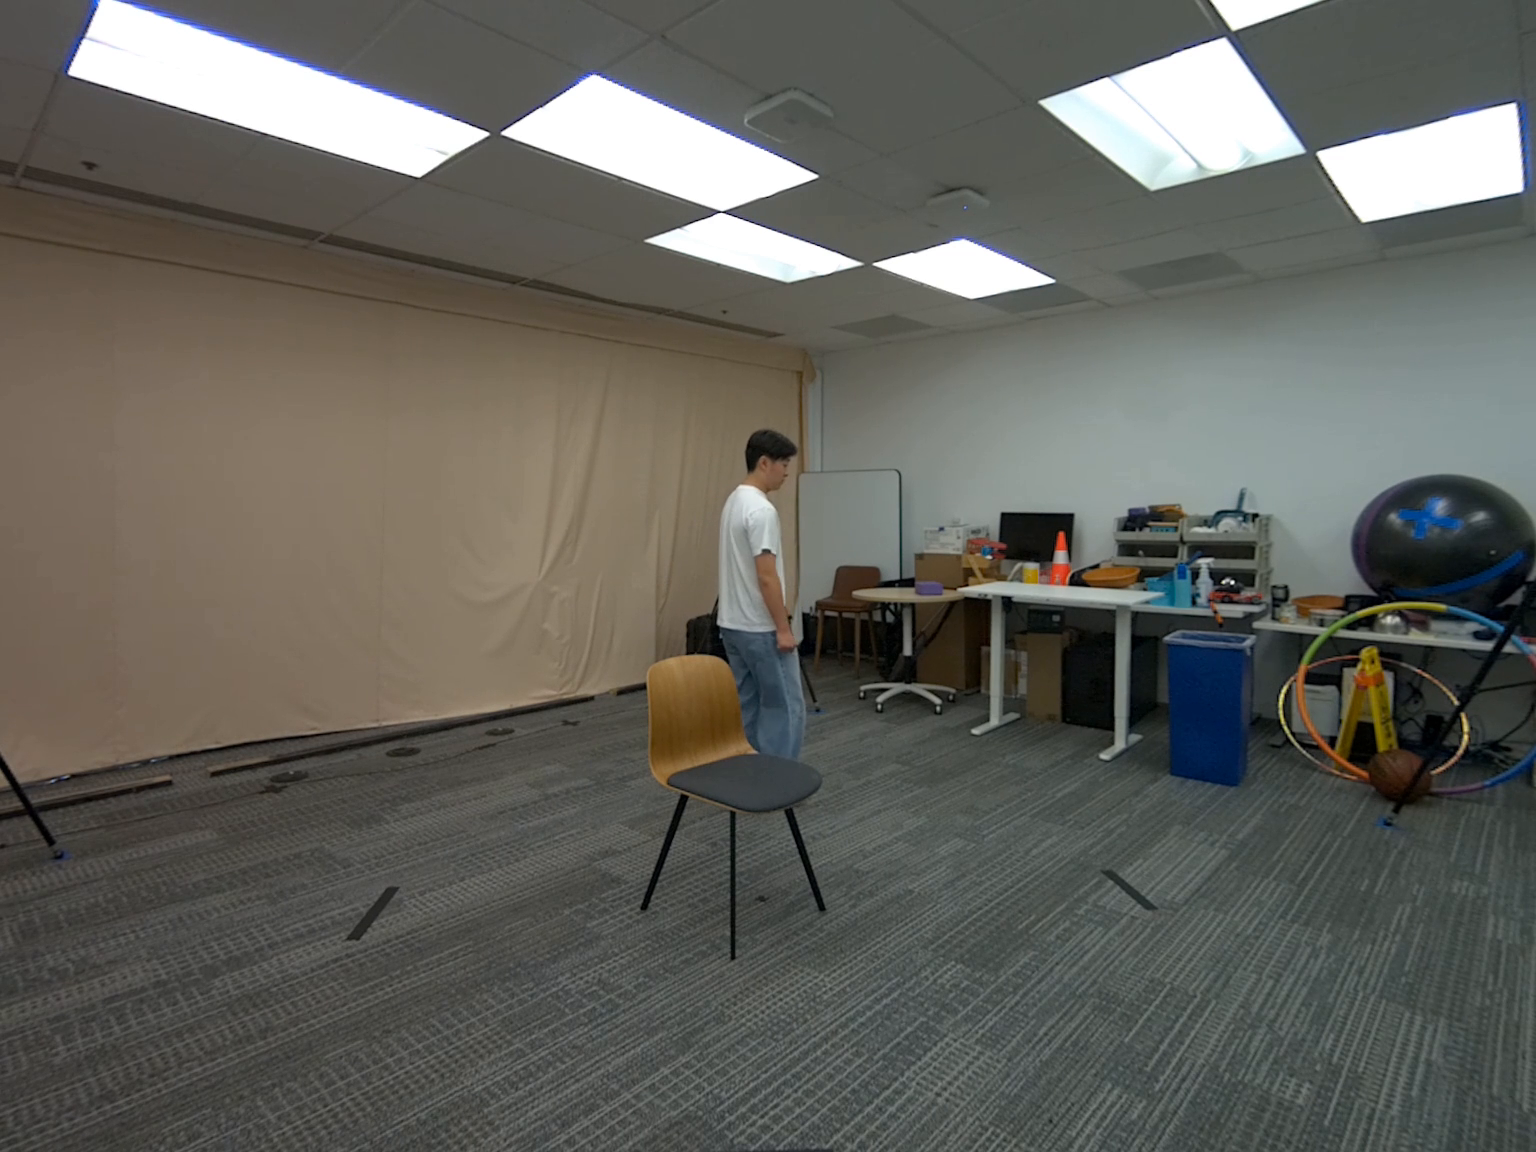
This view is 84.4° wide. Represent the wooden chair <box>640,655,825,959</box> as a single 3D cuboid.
[{"bbox_3d":[-0.115,0.725,2.861,0.539,0.877,0.463,-4,0,44],"label":"wooden chair"}]
